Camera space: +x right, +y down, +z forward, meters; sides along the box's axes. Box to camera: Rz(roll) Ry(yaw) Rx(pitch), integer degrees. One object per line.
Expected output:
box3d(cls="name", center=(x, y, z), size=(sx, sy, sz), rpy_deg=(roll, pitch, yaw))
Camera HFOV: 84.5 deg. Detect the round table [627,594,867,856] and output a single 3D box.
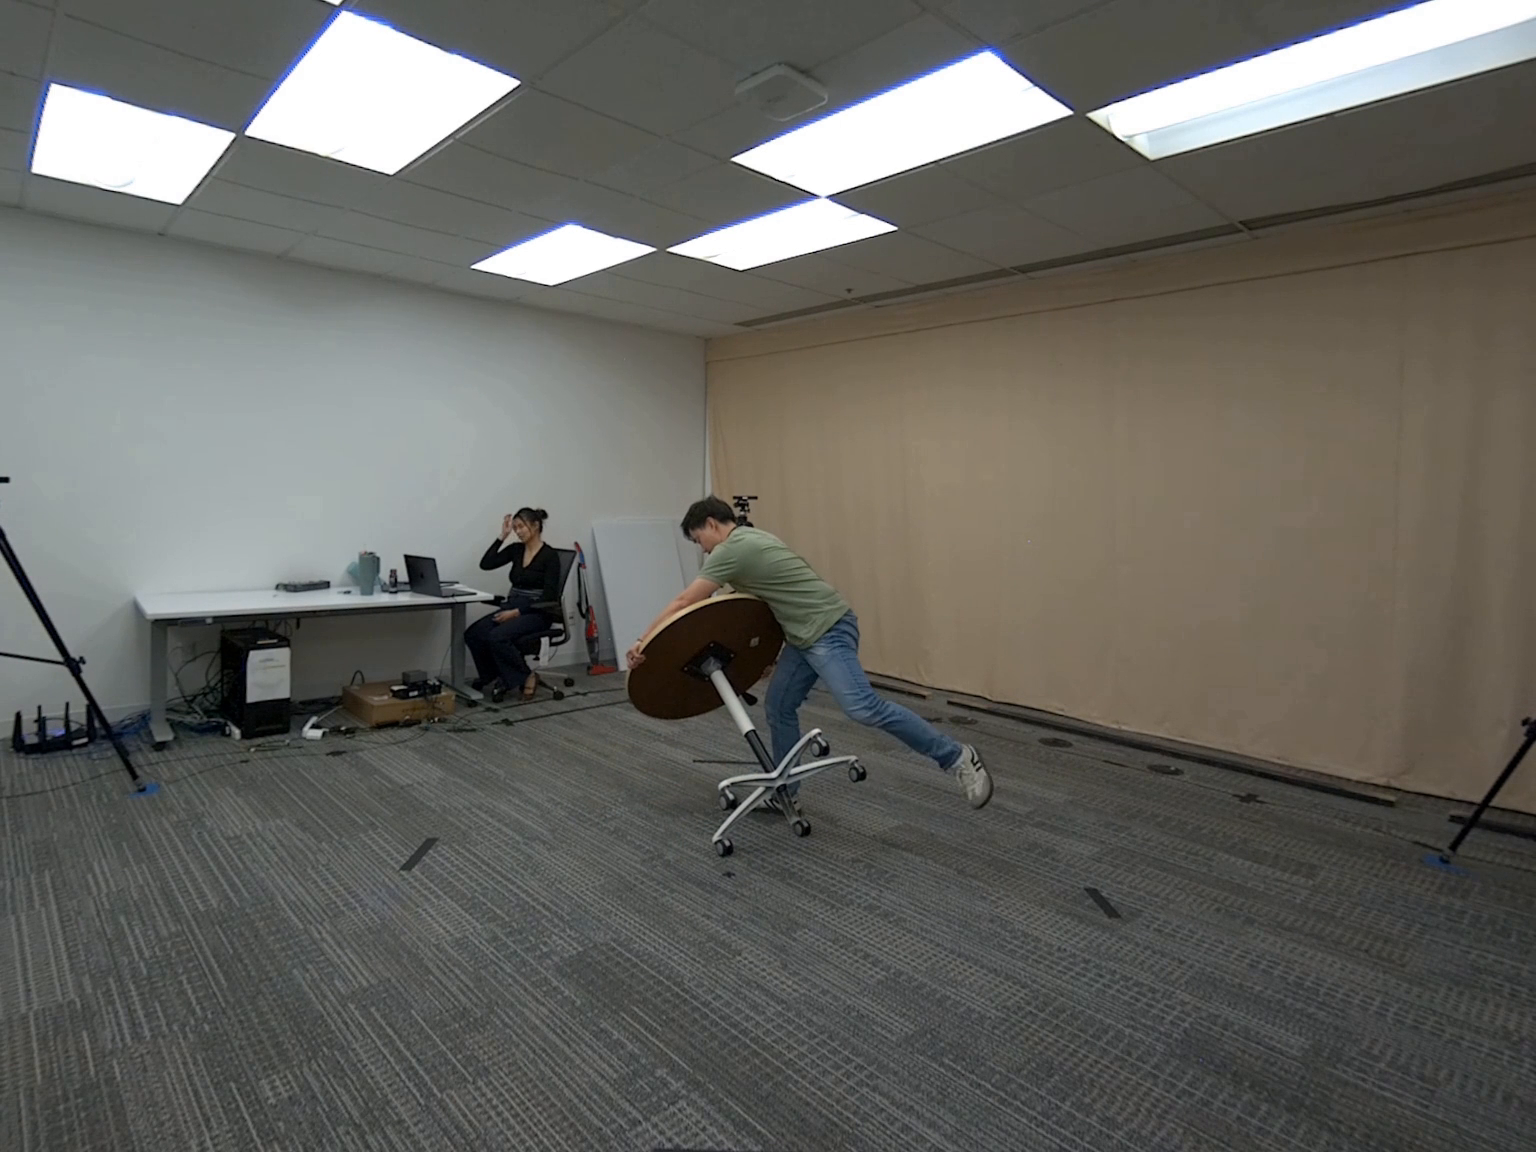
box3d(cls="round table", center=(-0.102, 0.619, 3.479), size=(0.747, 0.757, 0.819), rpy_deg=(-2, 41, -35))
